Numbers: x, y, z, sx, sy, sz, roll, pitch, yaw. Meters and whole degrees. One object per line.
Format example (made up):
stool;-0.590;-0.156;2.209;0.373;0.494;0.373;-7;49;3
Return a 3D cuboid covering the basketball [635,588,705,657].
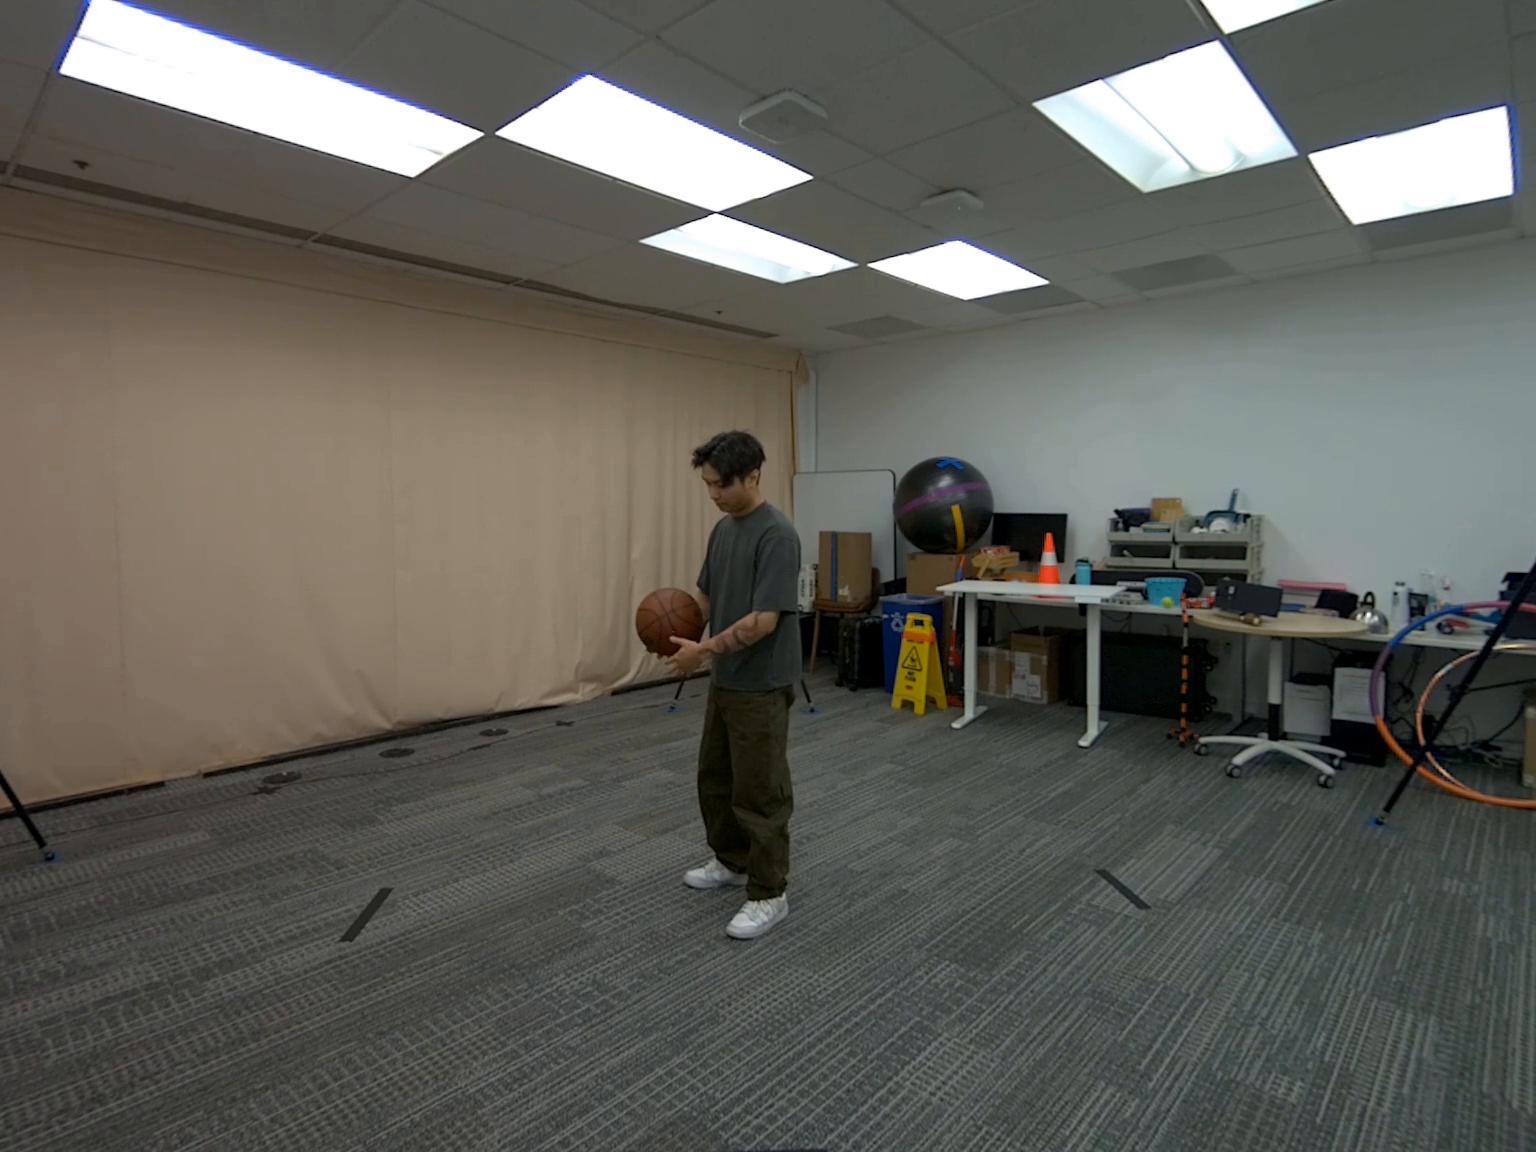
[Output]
basketball;-0.336;0.160;2.976;0.236;0.235;0.237;0;4;-2
